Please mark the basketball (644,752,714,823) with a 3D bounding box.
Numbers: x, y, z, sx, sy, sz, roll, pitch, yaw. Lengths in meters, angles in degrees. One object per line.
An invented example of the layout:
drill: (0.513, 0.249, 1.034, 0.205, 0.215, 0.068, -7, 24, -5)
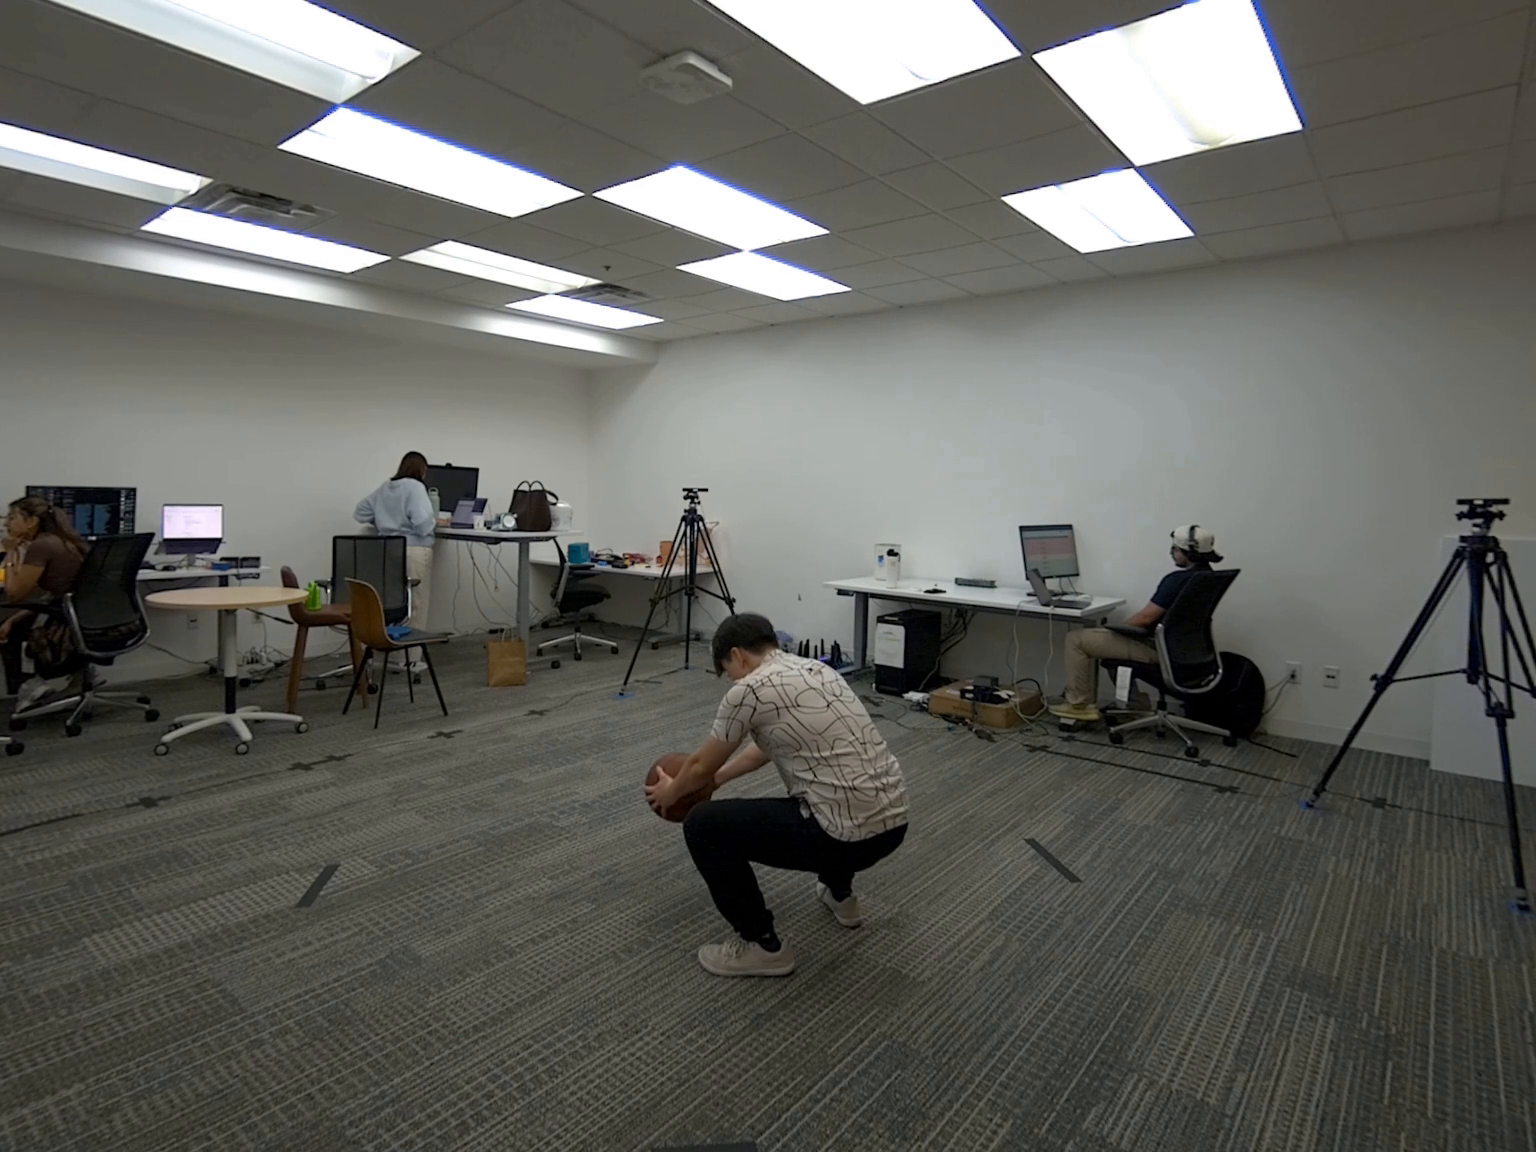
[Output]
basketball: (-0.311, 0.737, 2.993, 0.235, 0.235, 0.237, 1, 4, -2)
